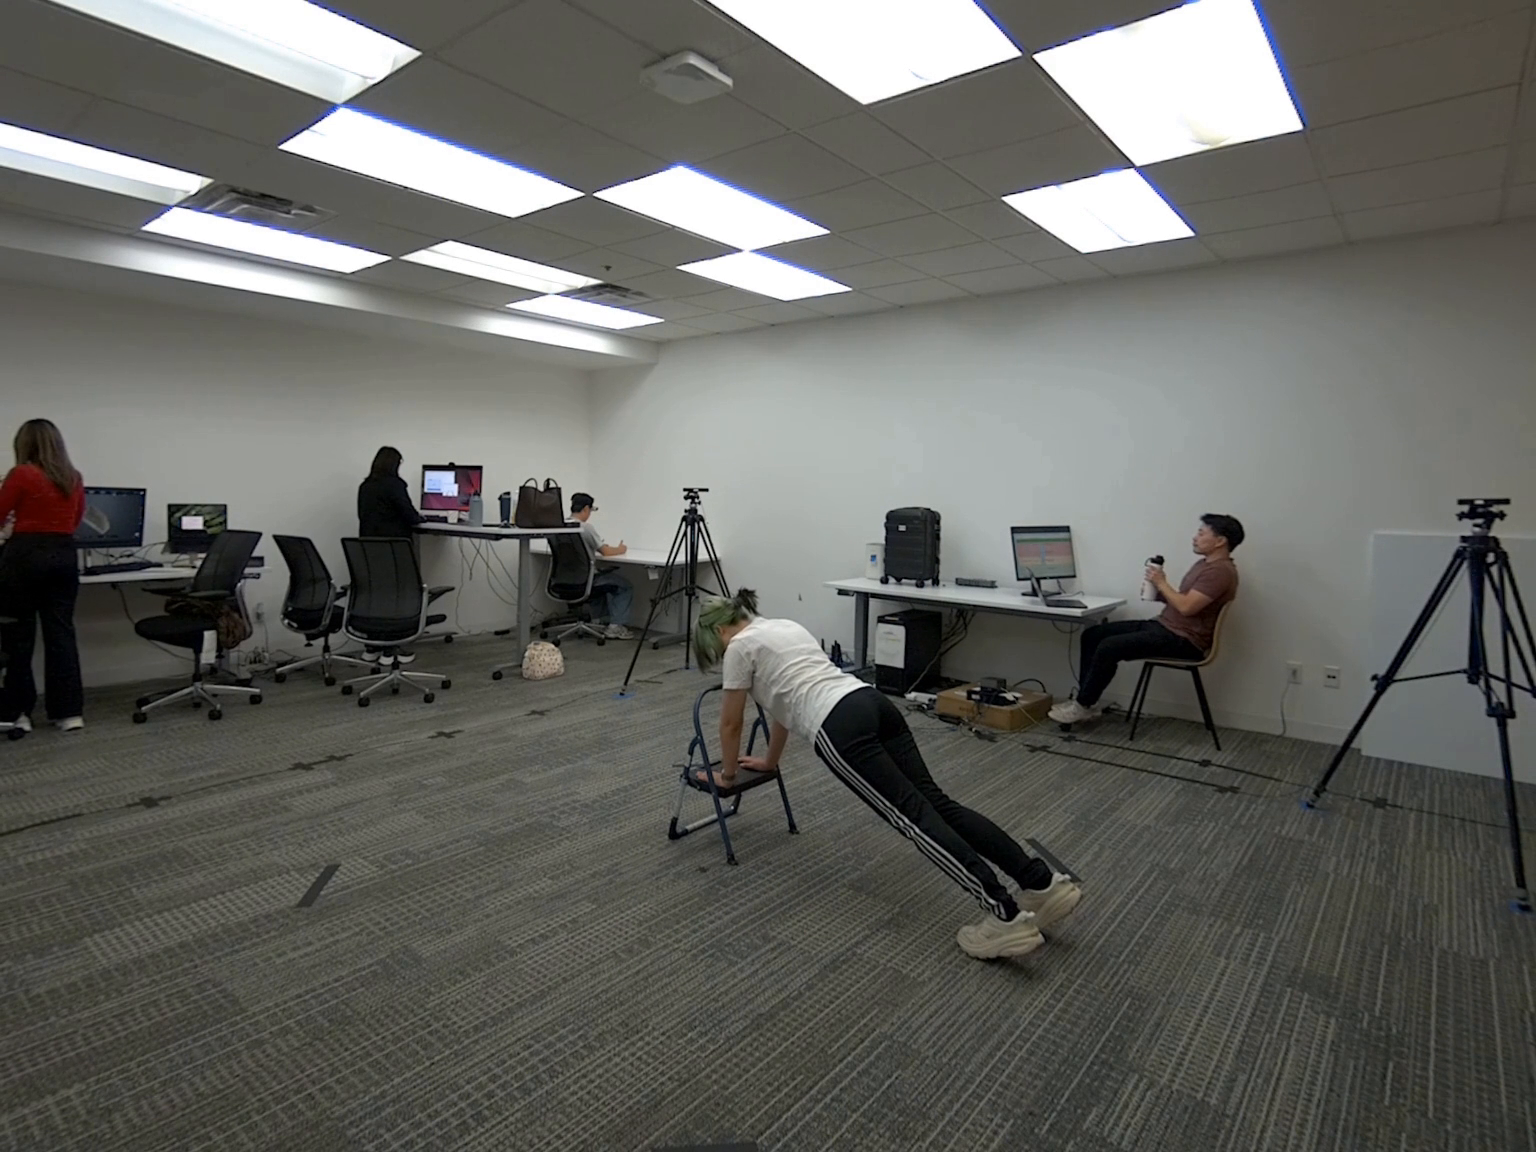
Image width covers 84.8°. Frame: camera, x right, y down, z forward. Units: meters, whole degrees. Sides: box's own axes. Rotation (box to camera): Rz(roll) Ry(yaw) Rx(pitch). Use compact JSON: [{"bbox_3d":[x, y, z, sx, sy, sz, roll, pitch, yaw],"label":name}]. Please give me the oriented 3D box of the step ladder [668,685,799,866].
[{"bbox_3d":[-0.143,0.741,3.403,0.361,0.604,0.418,4,4,38],"label":"step ladder"}]
